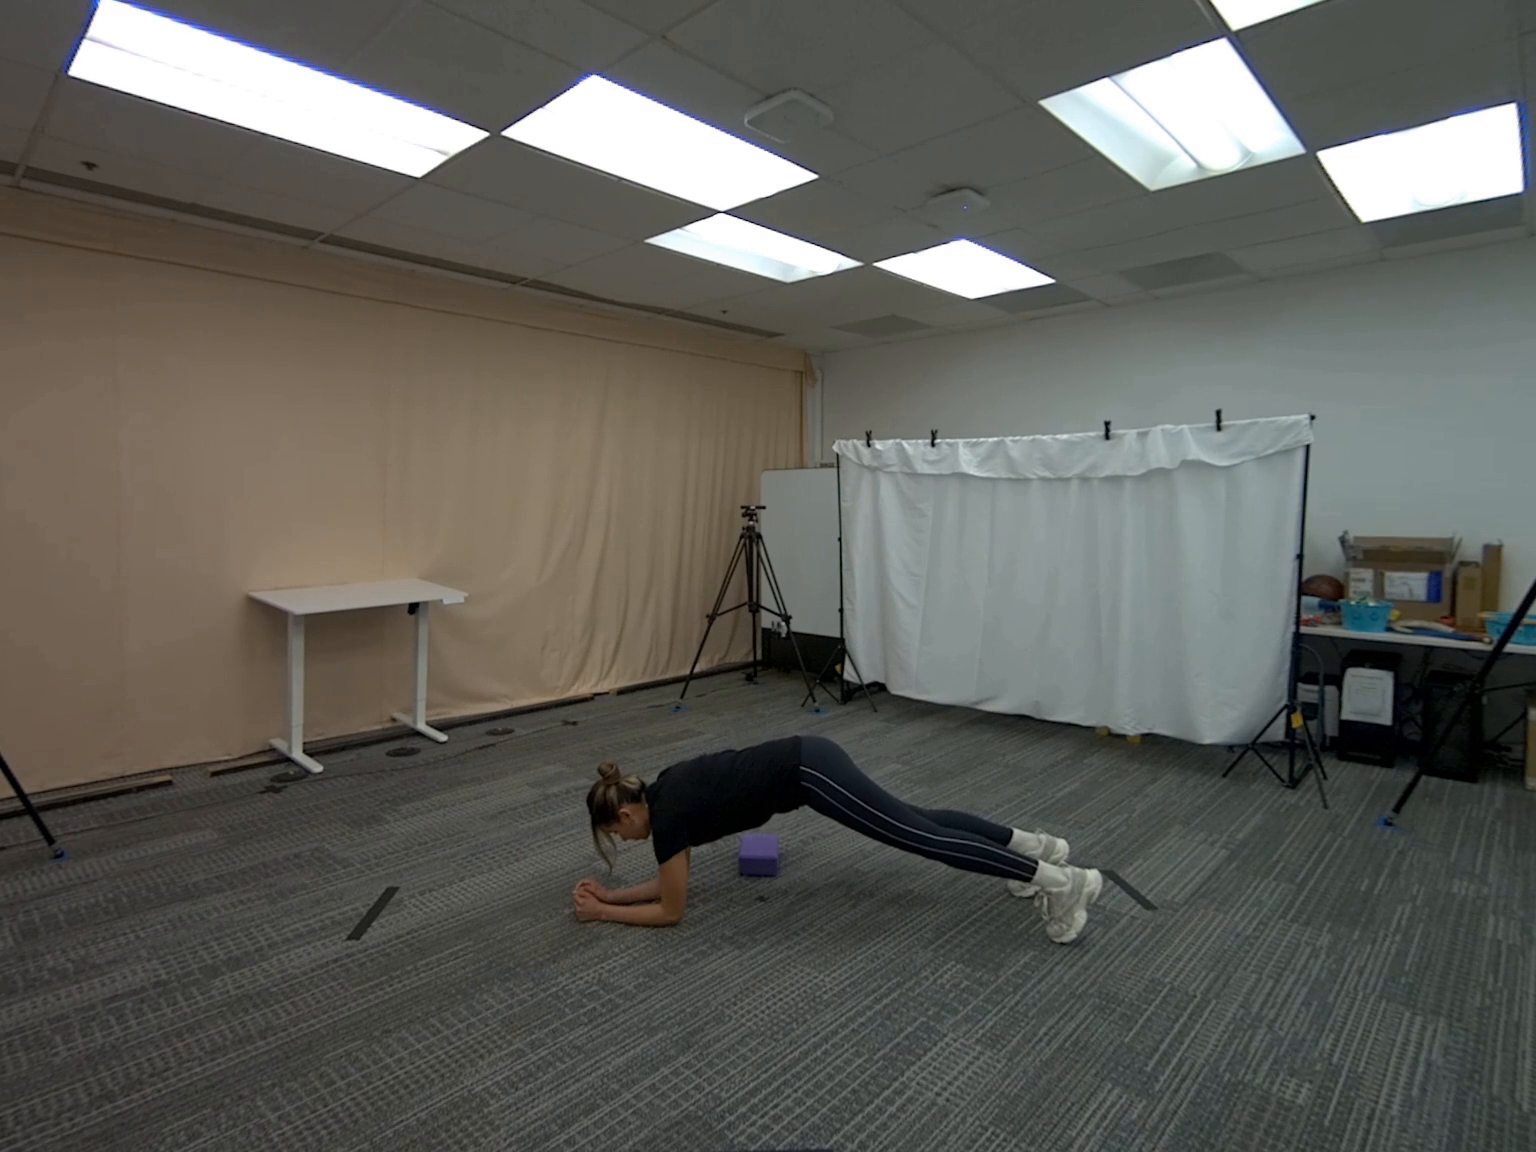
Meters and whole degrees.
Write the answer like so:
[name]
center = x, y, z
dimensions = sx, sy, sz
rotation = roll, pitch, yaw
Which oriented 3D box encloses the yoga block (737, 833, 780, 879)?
[yoga block]
center = -0.030, 1.078, 3.269
dimensions = 0.150, 0.076, 0.229
rotation = -1, 6, 3
